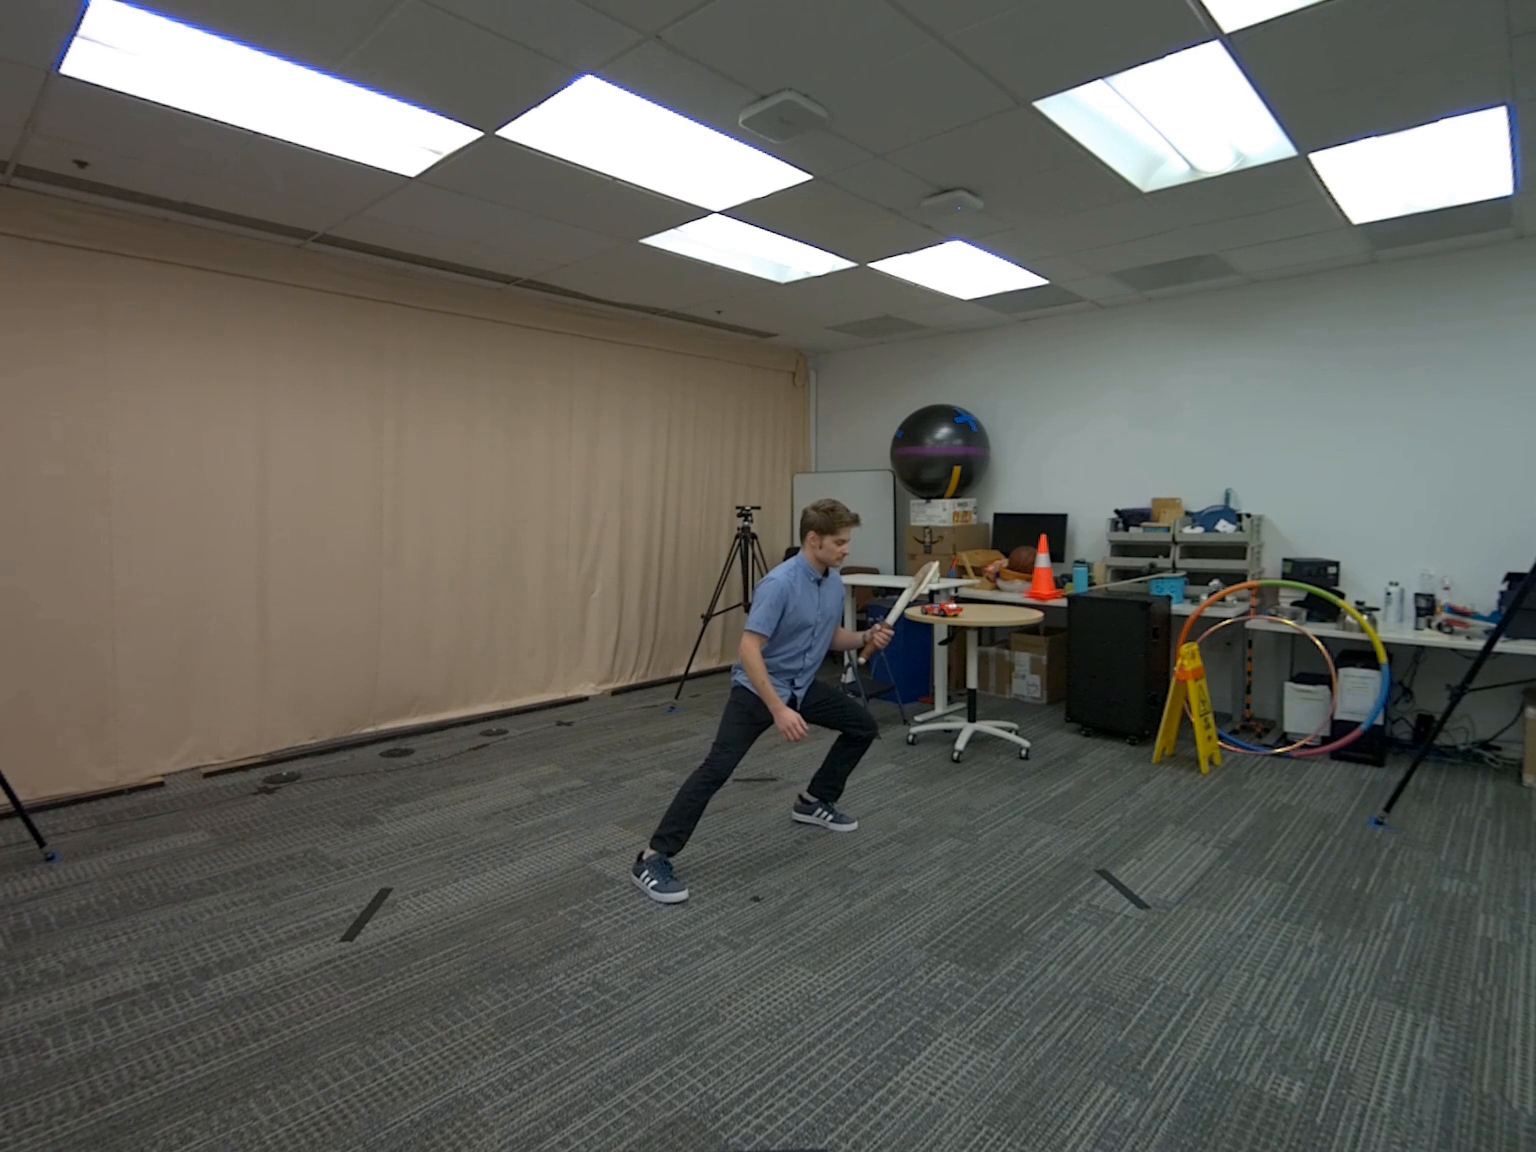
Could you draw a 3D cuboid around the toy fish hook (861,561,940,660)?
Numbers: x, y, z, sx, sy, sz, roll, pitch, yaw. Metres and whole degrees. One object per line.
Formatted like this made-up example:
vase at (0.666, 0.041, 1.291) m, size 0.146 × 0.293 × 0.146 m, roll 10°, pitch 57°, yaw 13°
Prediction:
toy fish hook at (0.527, 0.150, 3.338) m, size 0.048 × 0.506 × 0.223 m, roll 35°, pitch -5°, yaw 3°
